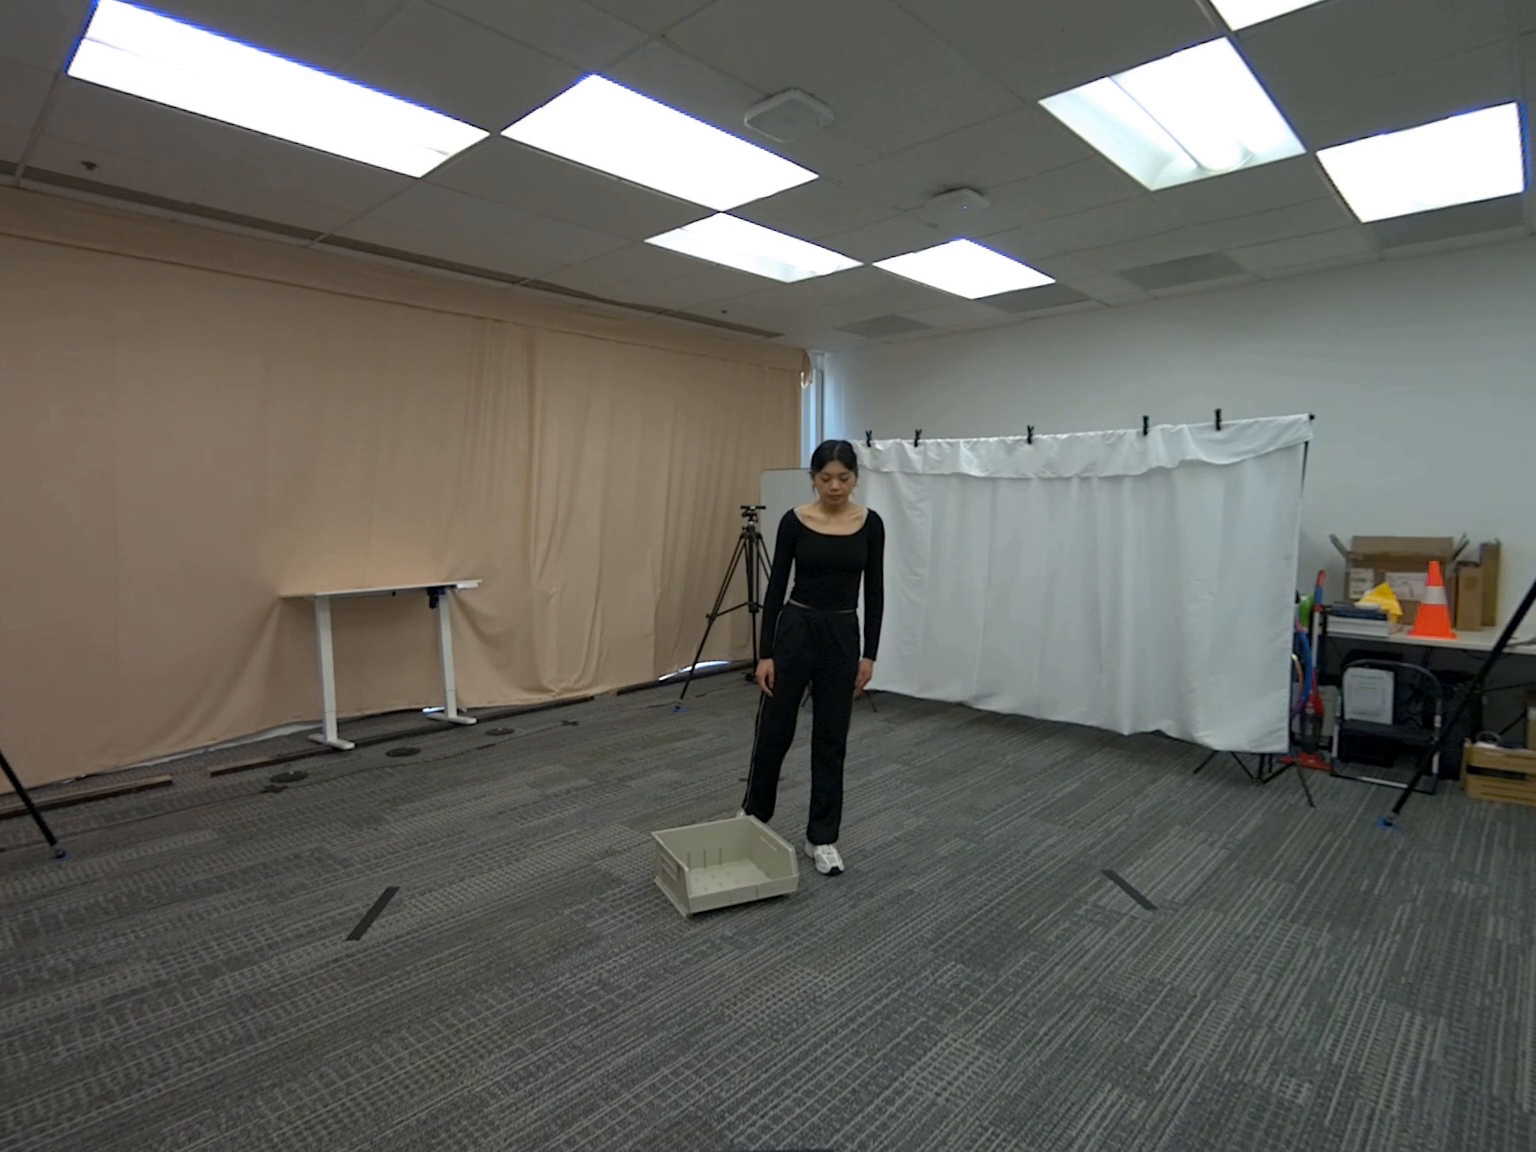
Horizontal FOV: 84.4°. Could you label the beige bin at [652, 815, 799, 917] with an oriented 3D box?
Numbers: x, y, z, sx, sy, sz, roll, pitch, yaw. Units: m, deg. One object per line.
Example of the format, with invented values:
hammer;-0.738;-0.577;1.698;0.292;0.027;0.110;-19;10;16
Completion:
beige bin;-0.161;1.051;3.049;0.412;0.188;0.387;-3;5;-26
